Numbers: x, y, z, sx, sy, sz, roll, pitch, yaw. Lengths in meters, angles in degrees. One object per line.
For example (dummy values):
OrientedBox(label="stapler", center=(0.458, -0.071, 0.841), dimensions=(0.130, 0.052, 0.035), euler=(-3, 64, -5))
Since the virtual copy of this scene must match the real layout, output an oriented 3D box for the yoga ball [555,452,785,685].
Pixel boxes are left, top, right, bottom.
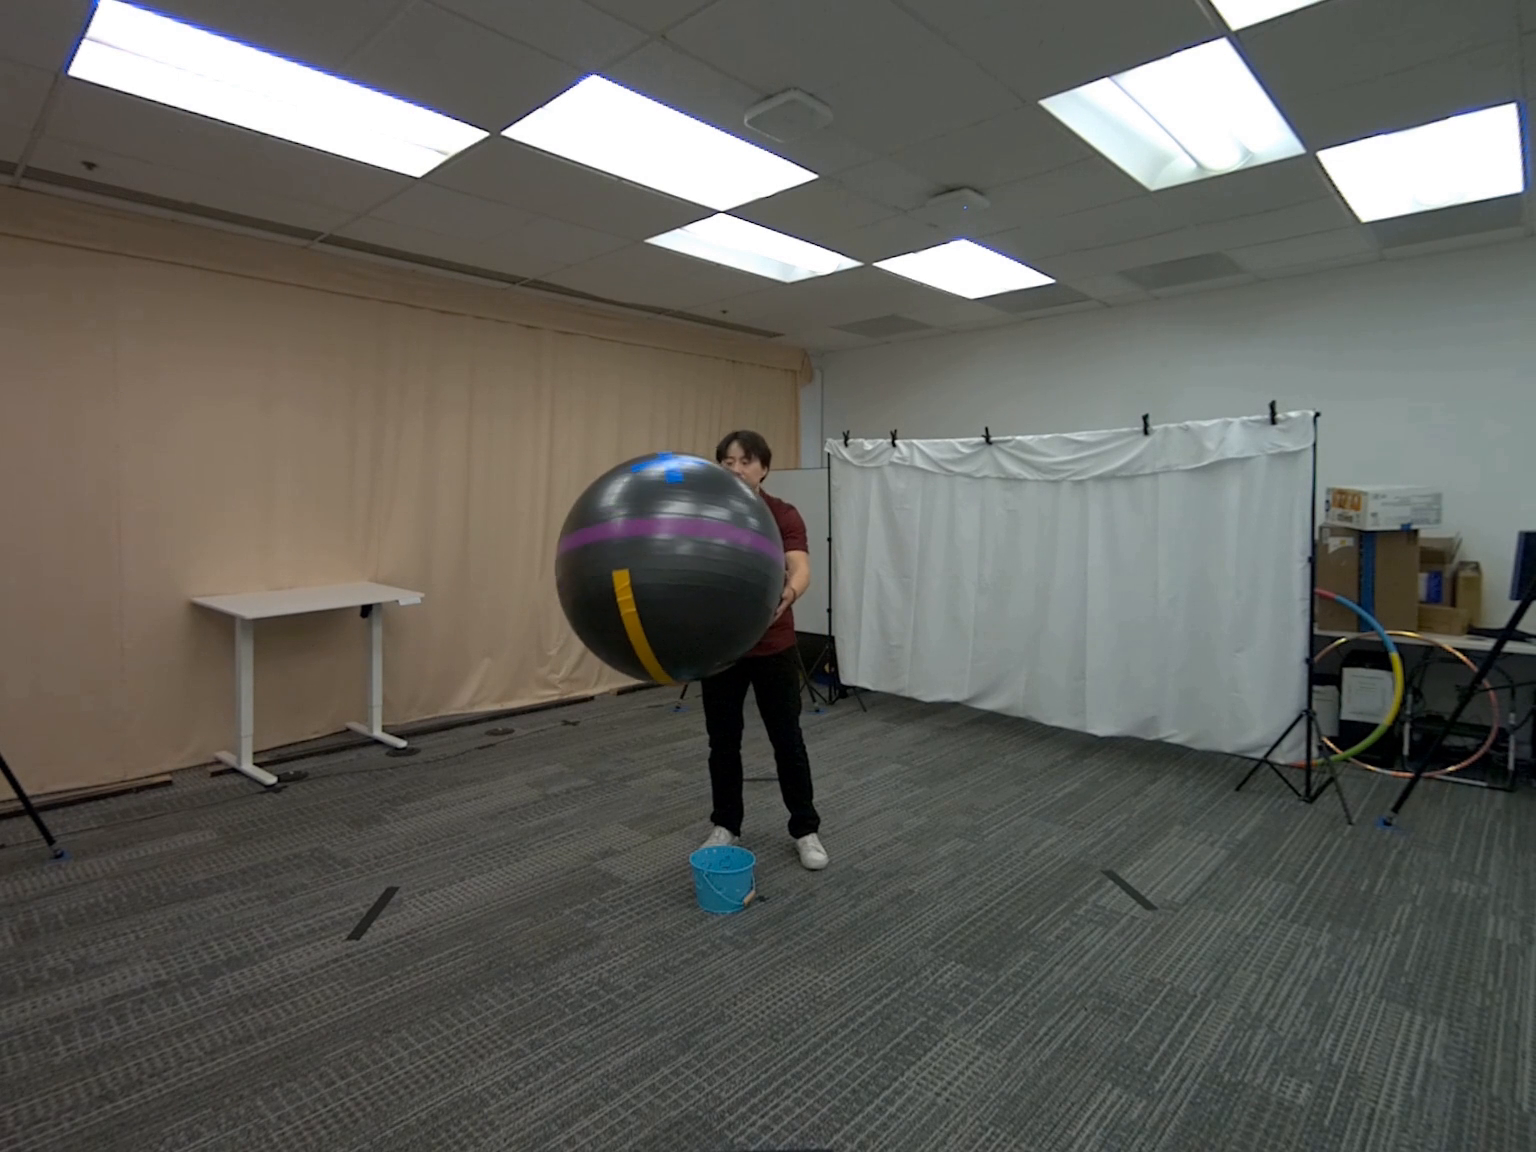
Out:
OrientedBox(label="yoga ball", center=(-0.323, -0.010, 2.789), dimensions=(0.757, 0.756, 0.760), euler=(0, 4, -2))
